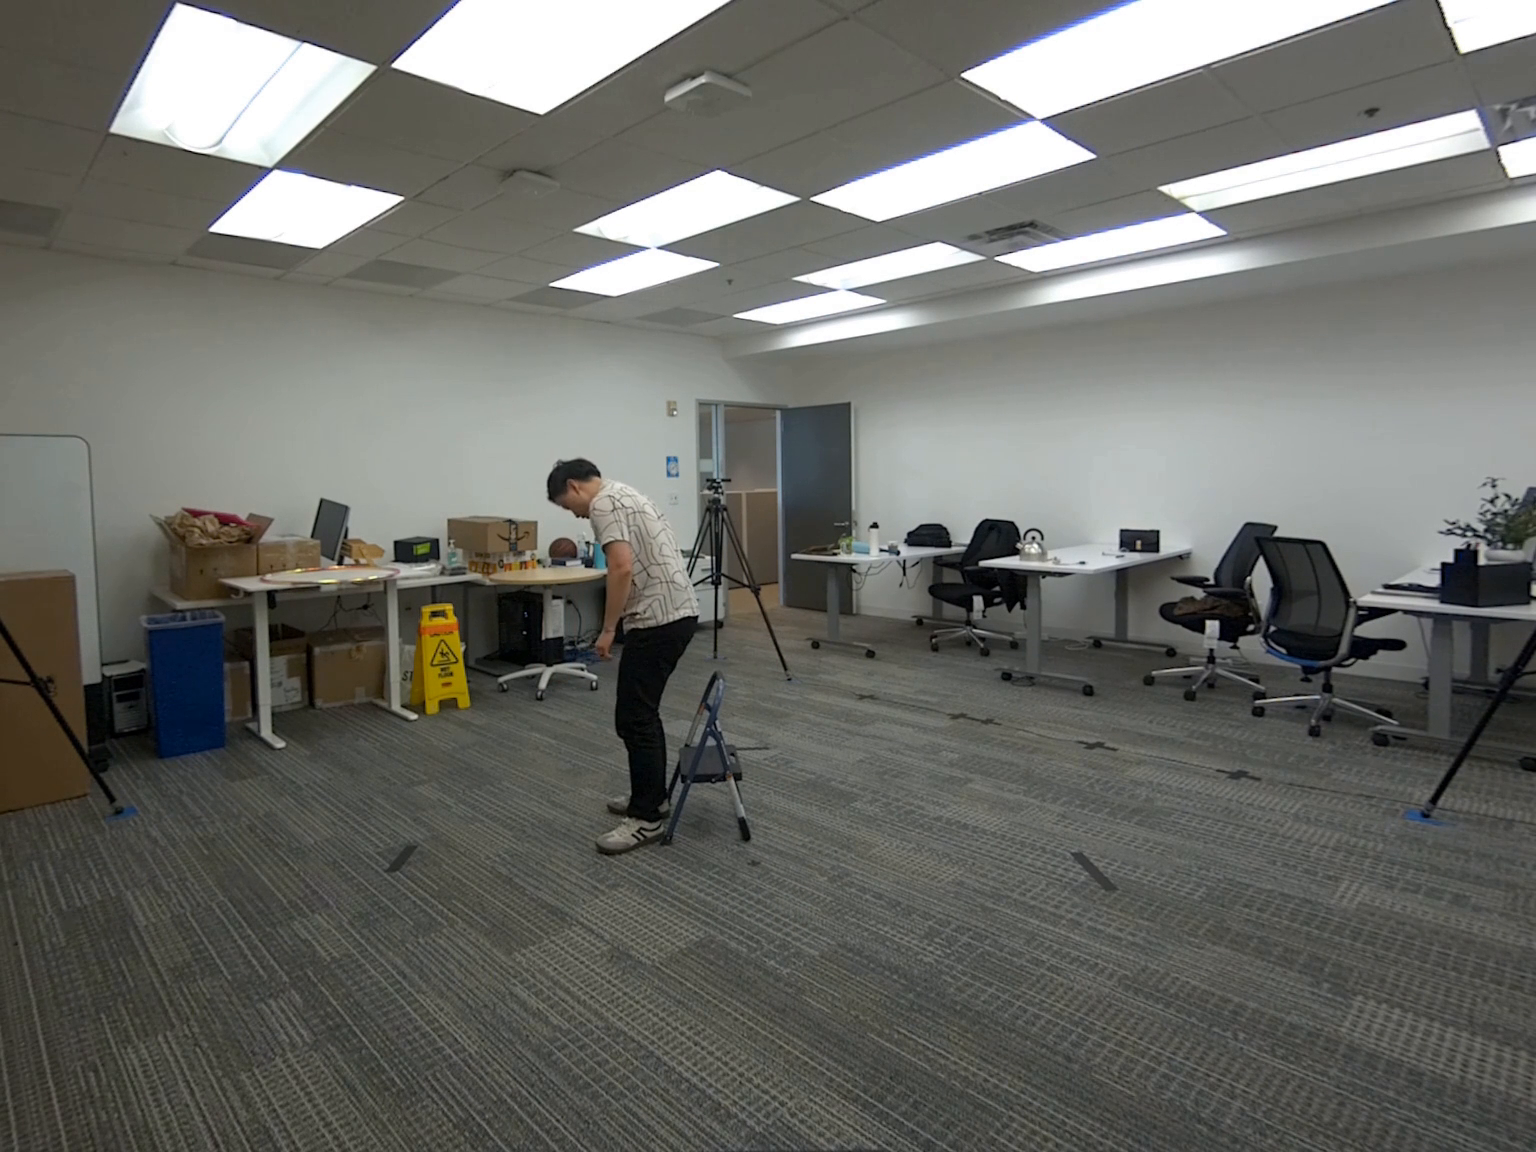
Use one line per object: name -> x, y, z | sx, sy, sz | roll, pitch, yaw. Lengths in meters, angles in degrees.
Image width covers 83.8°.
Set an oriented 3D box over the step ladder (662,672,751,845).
step ladder -> -0.263, 0.704, 3.466 | 0.347, 0.603, 0.435 | -2, 5, -7
